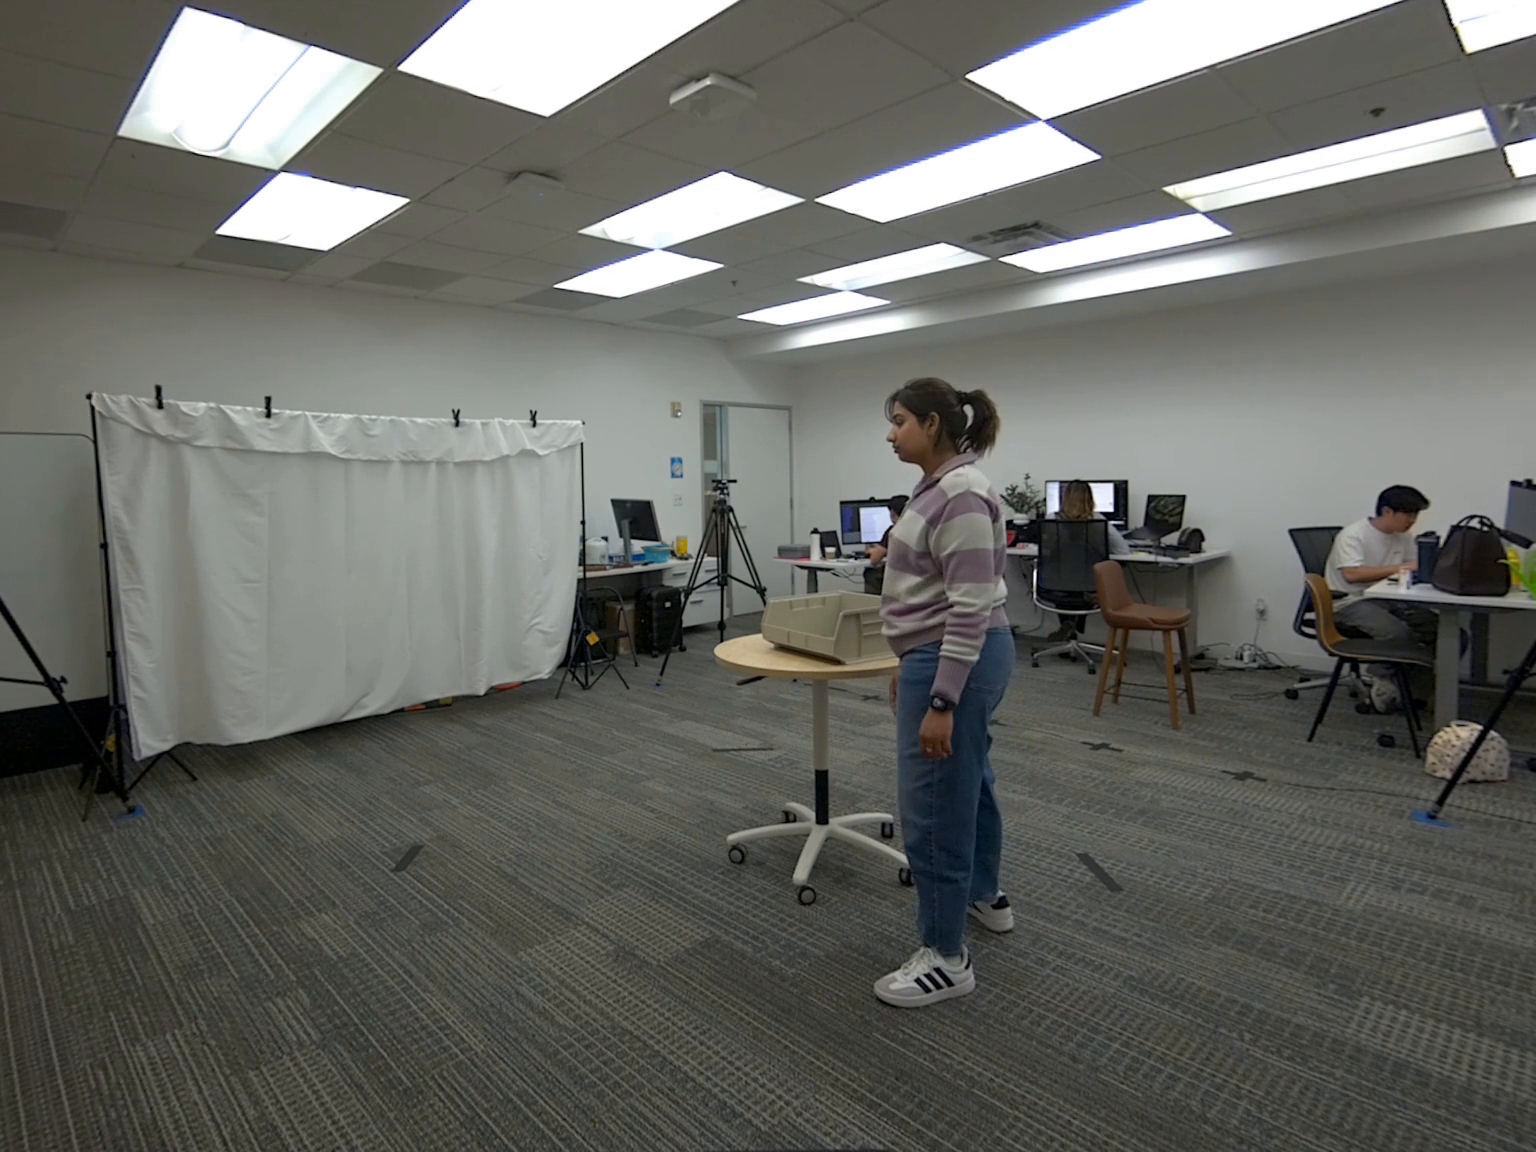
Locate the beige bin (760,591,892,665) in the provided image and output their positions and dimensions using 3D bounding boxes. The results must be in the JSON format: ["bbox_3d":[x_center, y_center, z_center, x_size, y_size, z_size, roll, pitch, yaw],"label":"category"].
[{"bbox_3d":[0.251,0.178,3.020,0.368,0.188,0.434,-4,6,-33],"label":"beige bin"}]
